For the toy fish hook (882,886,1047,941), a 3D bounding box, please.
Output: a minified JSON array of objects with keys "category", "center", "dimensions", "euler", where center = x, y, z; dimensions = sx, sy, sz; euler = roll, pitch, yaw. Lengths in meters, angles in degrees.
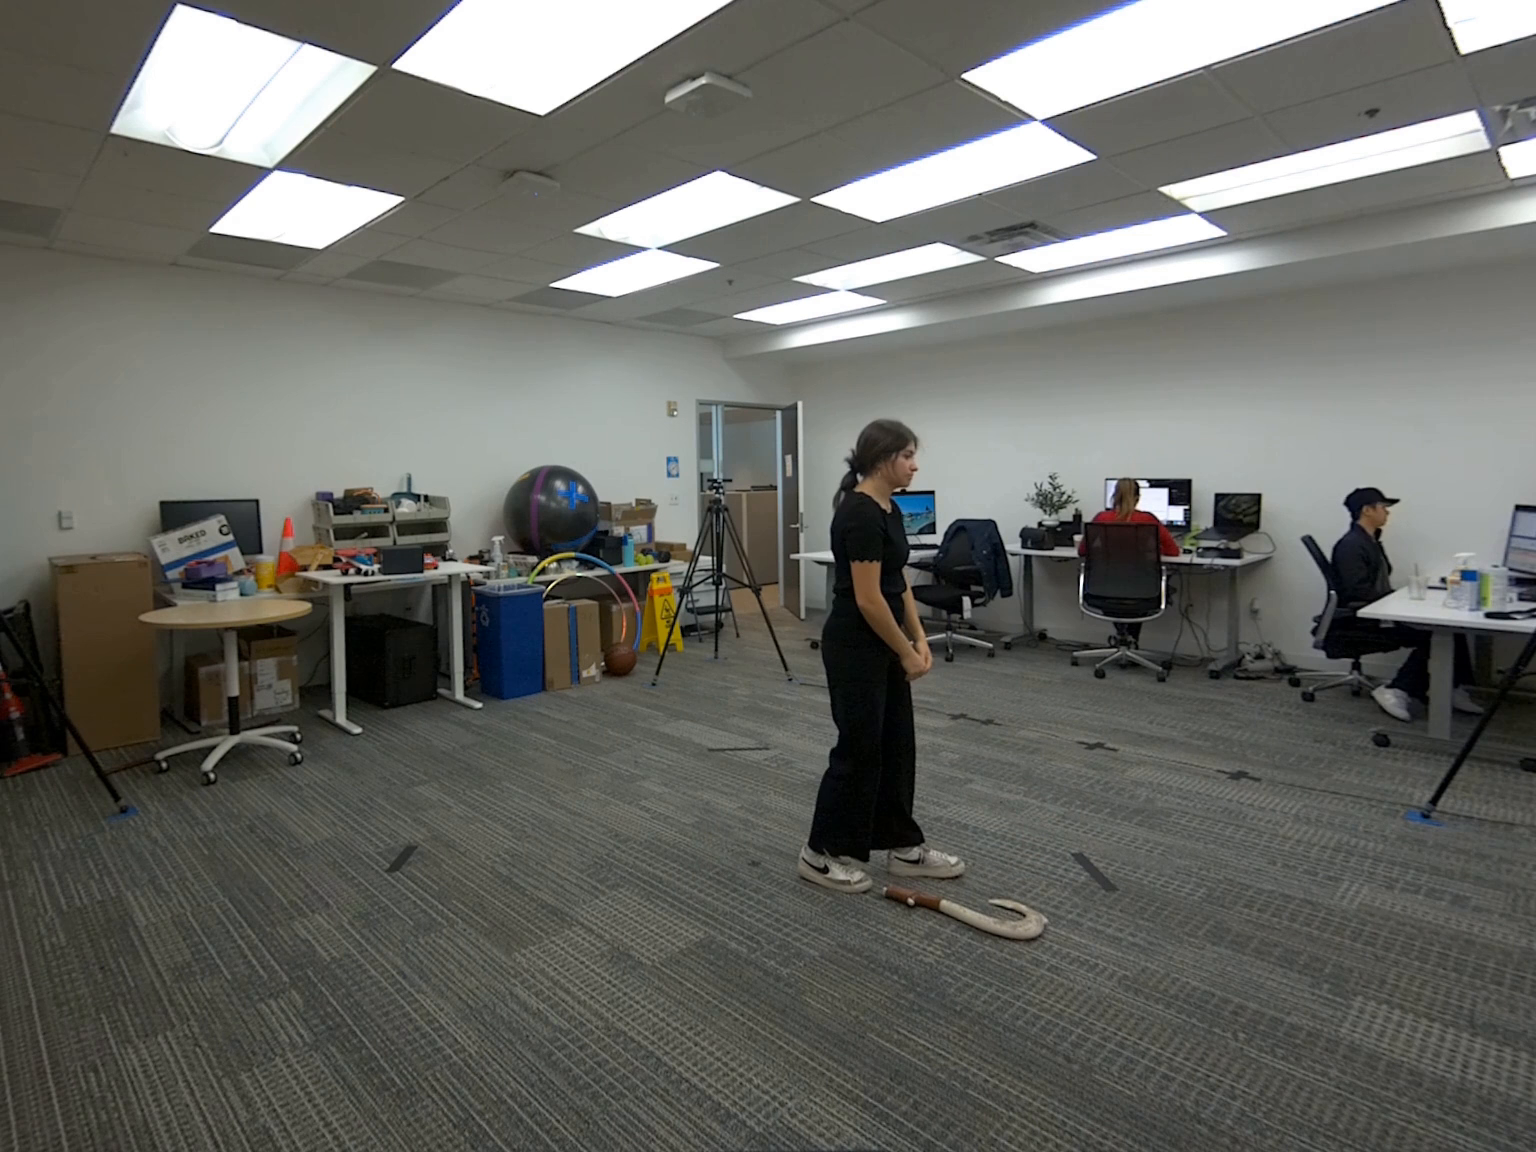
[{"category":"toy fish hook","center":[0.626,1.060,2.744],"dimensions":[0.521,0.048,0.218],"euler":[4,0,33]}]
